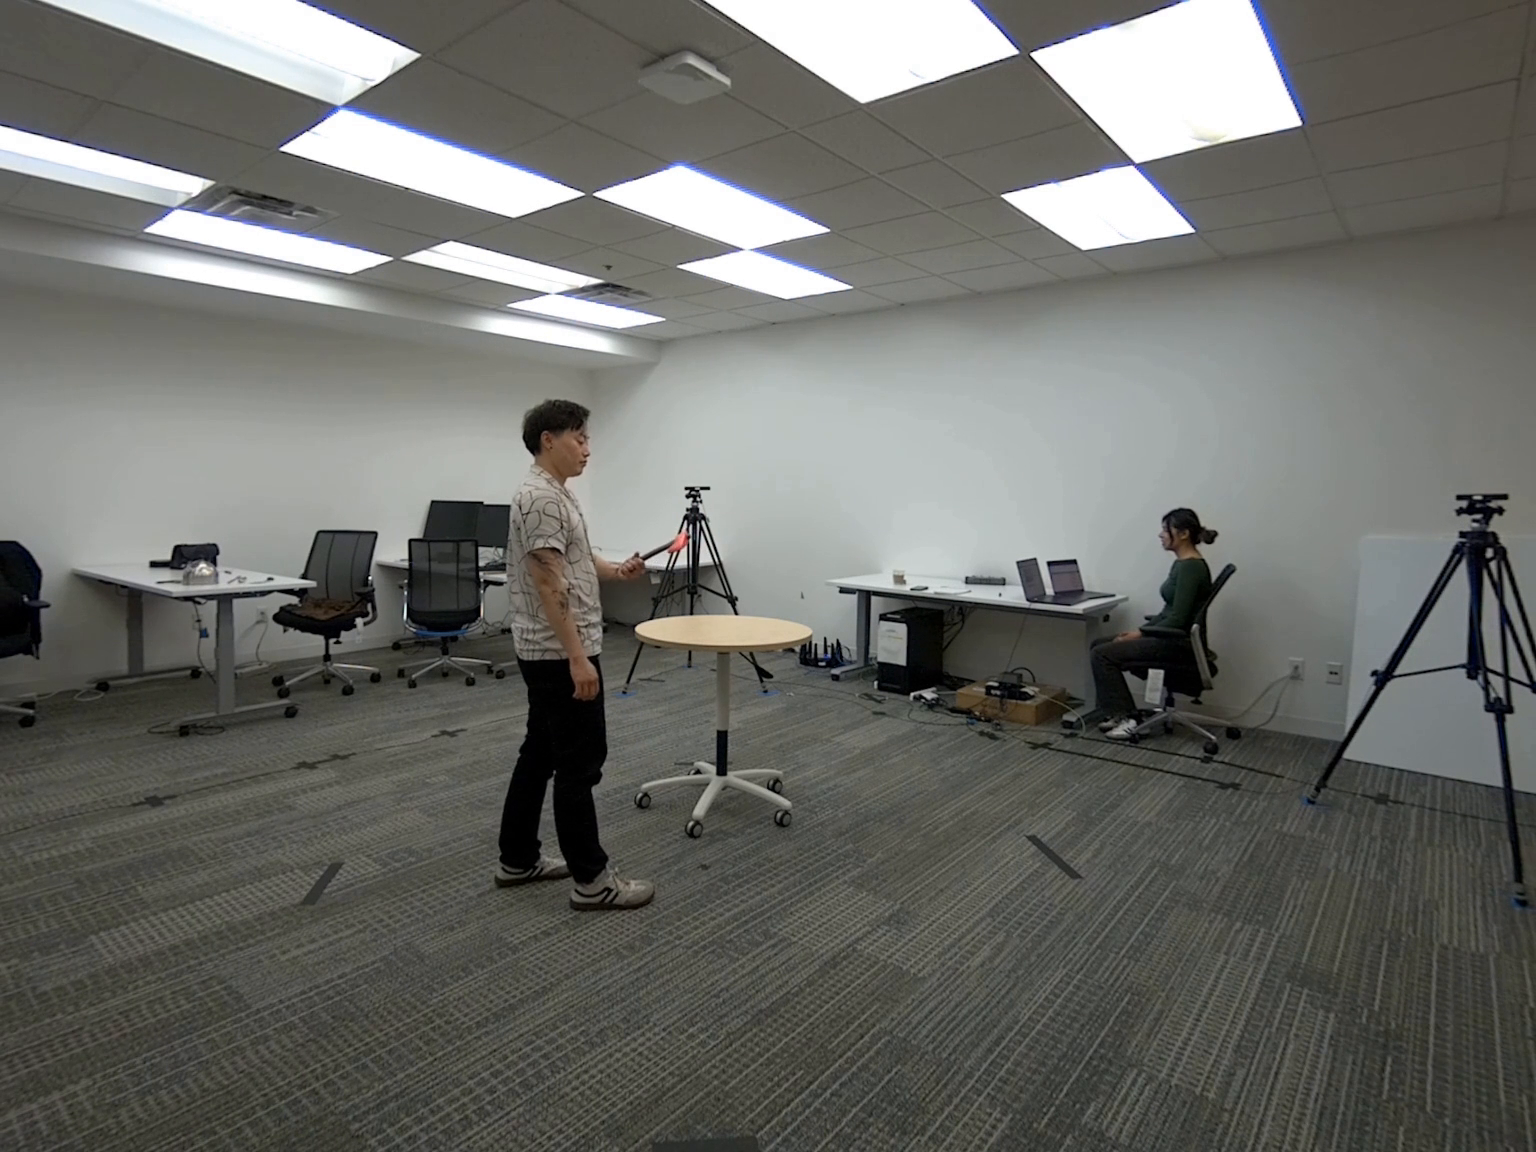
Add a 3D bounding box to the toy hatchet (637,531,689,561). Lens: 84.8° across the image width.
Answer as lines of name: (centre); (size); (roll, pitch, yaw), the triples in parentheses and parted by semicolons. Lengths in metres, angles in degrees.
toy hatchet: (-0.388, -0.073, 2.893); (0.270, 0.028, 0.135); (-32, 28, -1)
